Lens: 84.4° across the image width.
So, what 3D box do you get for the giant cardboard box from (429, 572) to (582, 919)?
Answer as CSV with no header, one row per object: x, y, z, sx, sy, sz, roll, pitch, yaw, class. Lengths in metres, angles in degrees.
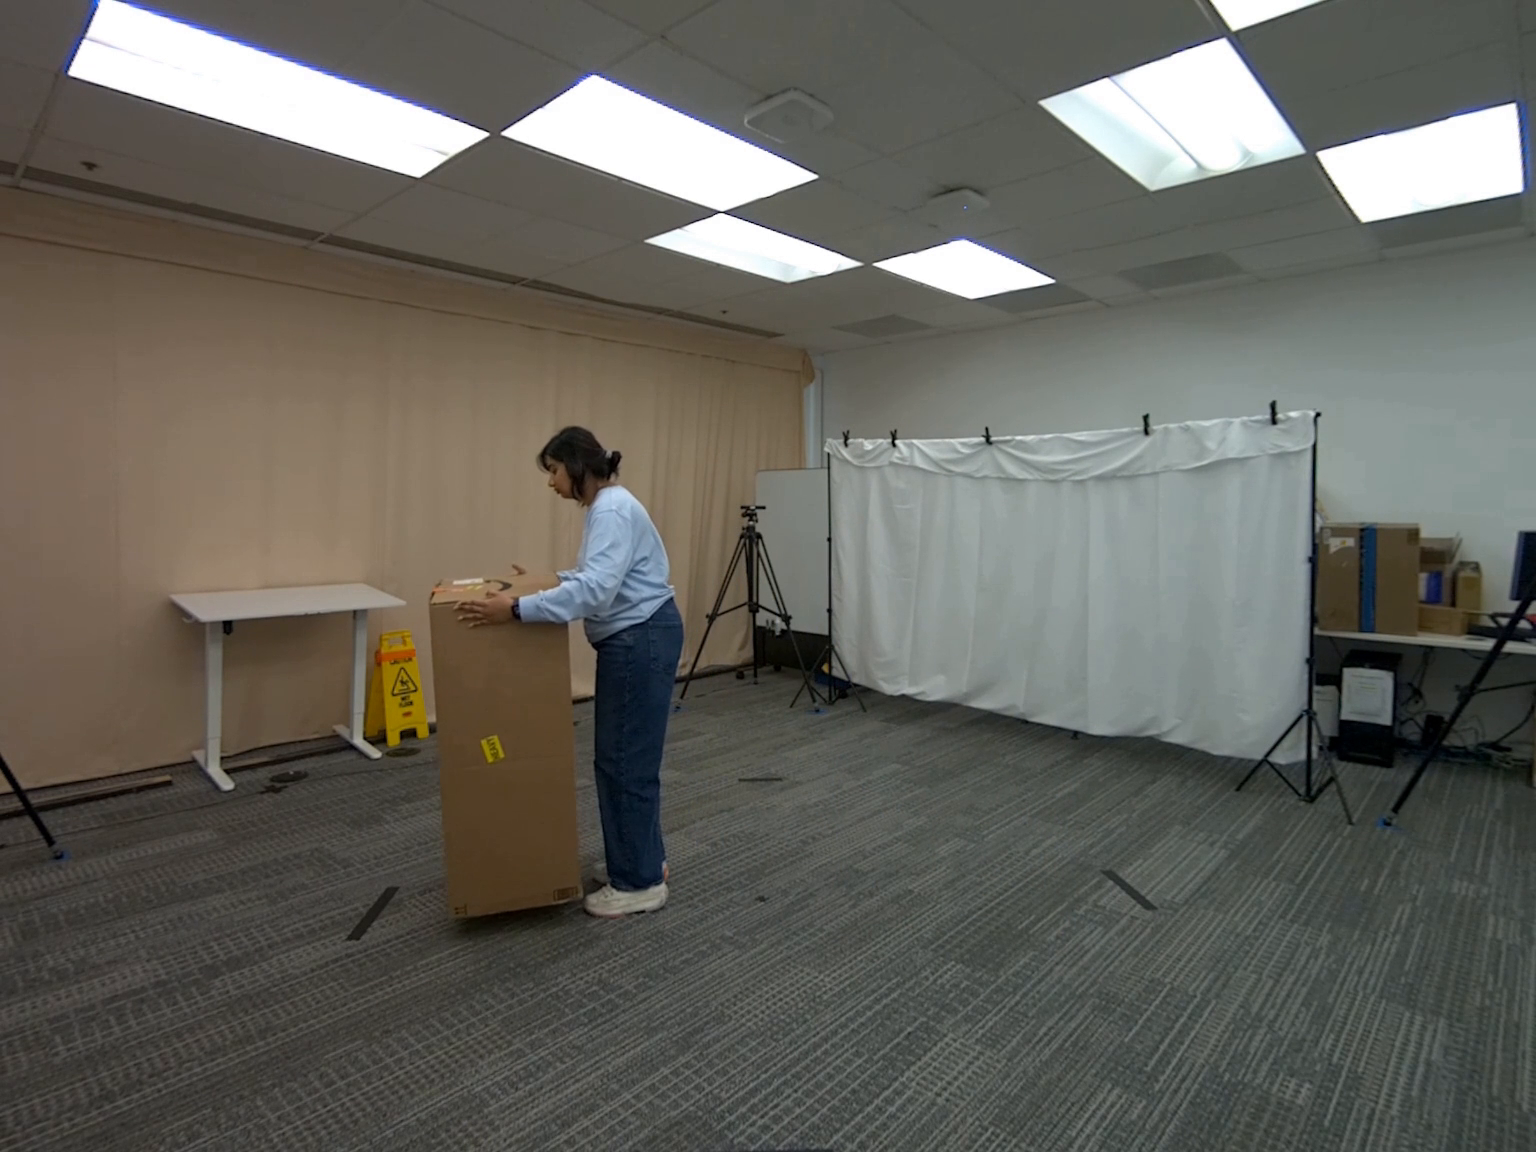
-0.922,0.549,2.946,0.419,1.021,0.590,-3,7,-17,giant cardboard box
